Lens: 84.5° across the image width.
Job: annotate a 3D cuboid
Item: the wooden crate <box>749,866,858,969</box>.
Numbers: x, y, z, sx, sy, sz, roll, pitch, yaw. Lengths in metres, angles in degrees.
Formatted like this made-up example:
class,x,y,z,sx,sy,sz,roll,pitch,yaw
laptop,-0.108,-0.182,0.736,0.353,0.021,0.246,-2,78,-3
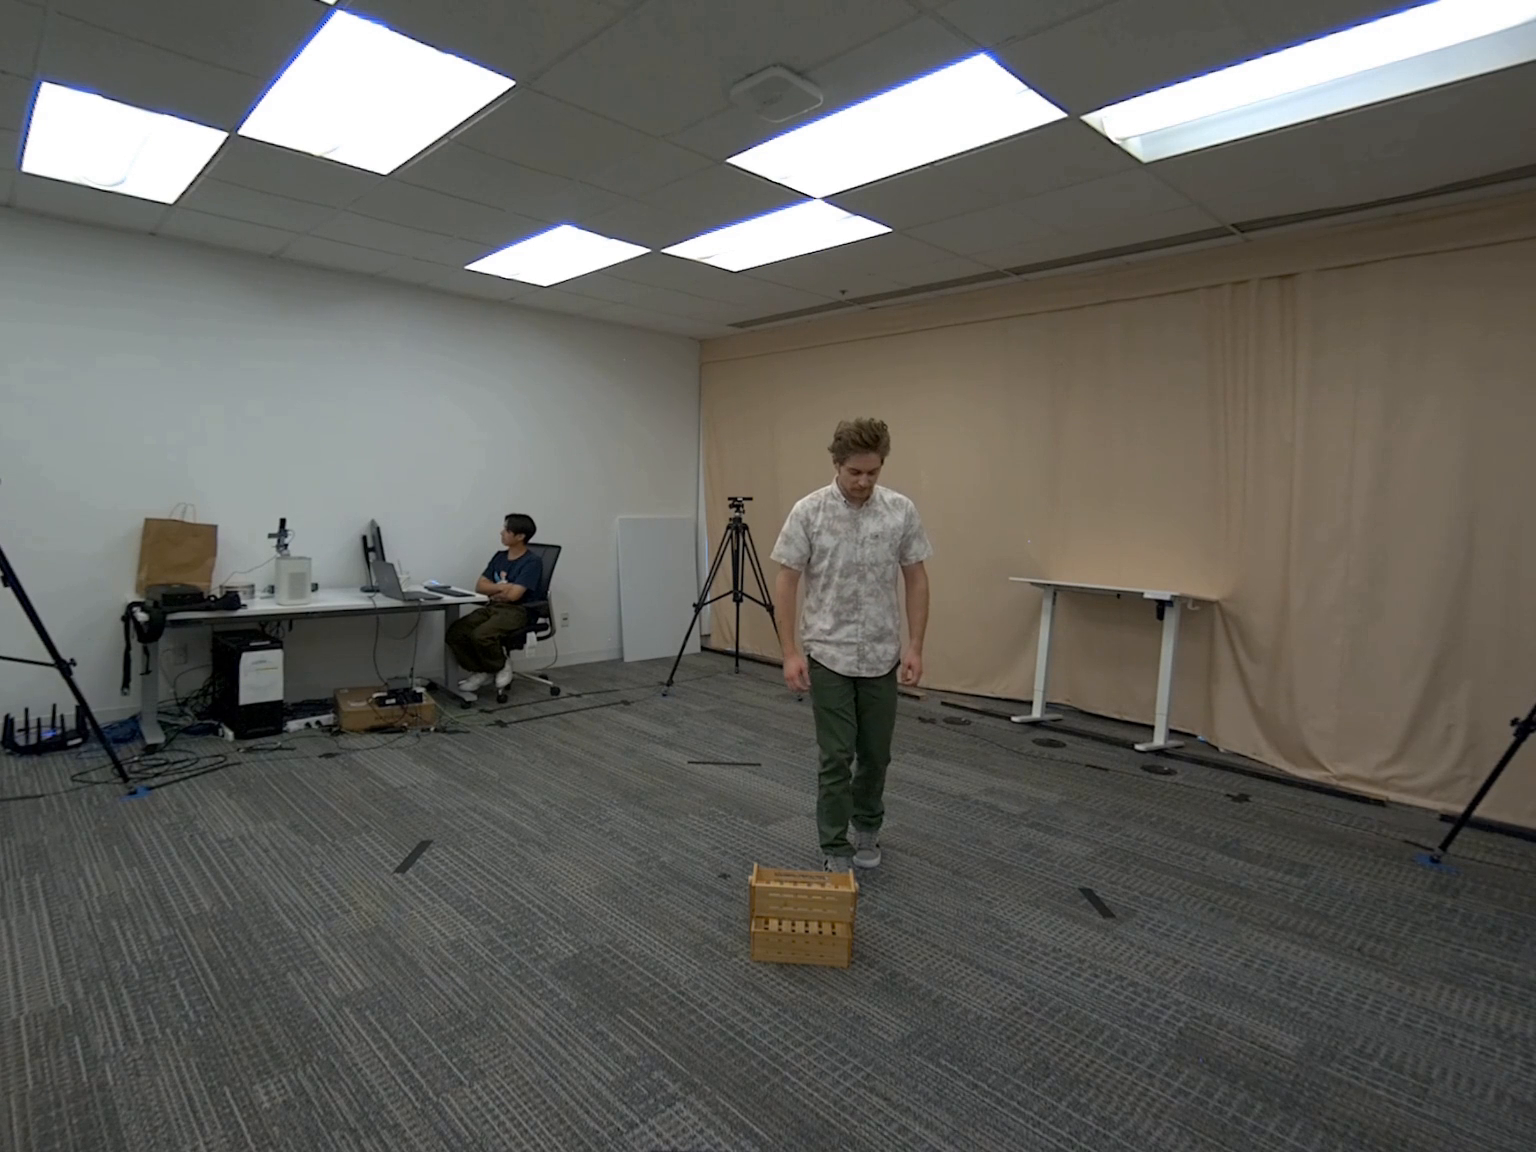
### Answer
class,x,y,z,sx,sy,sz,roll,pitch,yaw
wooden crate,0.101,1.022,2.618,0.325,0.272,0.302,2,5,3
